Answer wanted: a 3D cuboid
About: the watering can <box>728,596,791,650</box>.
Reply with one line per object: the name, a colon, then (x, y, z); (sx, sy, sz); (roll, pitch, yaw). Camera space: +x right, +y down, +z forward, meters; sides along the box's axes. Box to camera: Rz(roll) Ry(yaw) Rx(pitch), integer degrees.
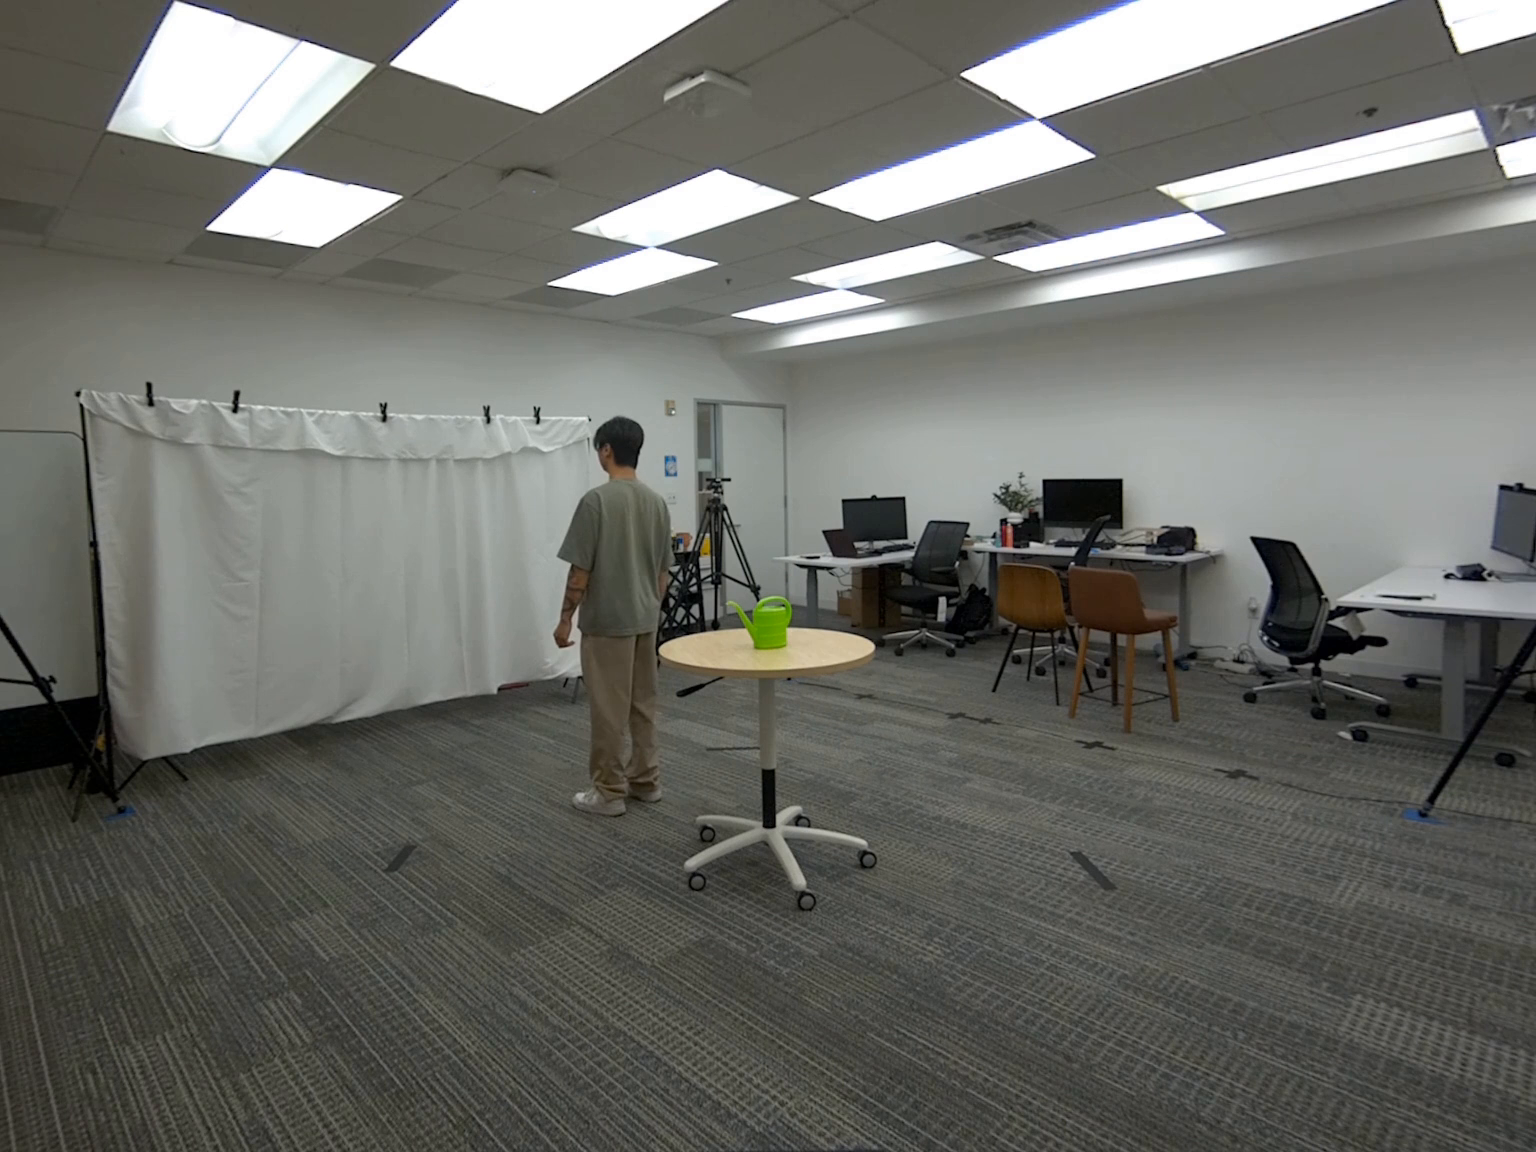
watering can: (-0.027, 0.164, 3.024); (0.273, 0.176, 0.100); (-2, 3, -23)
